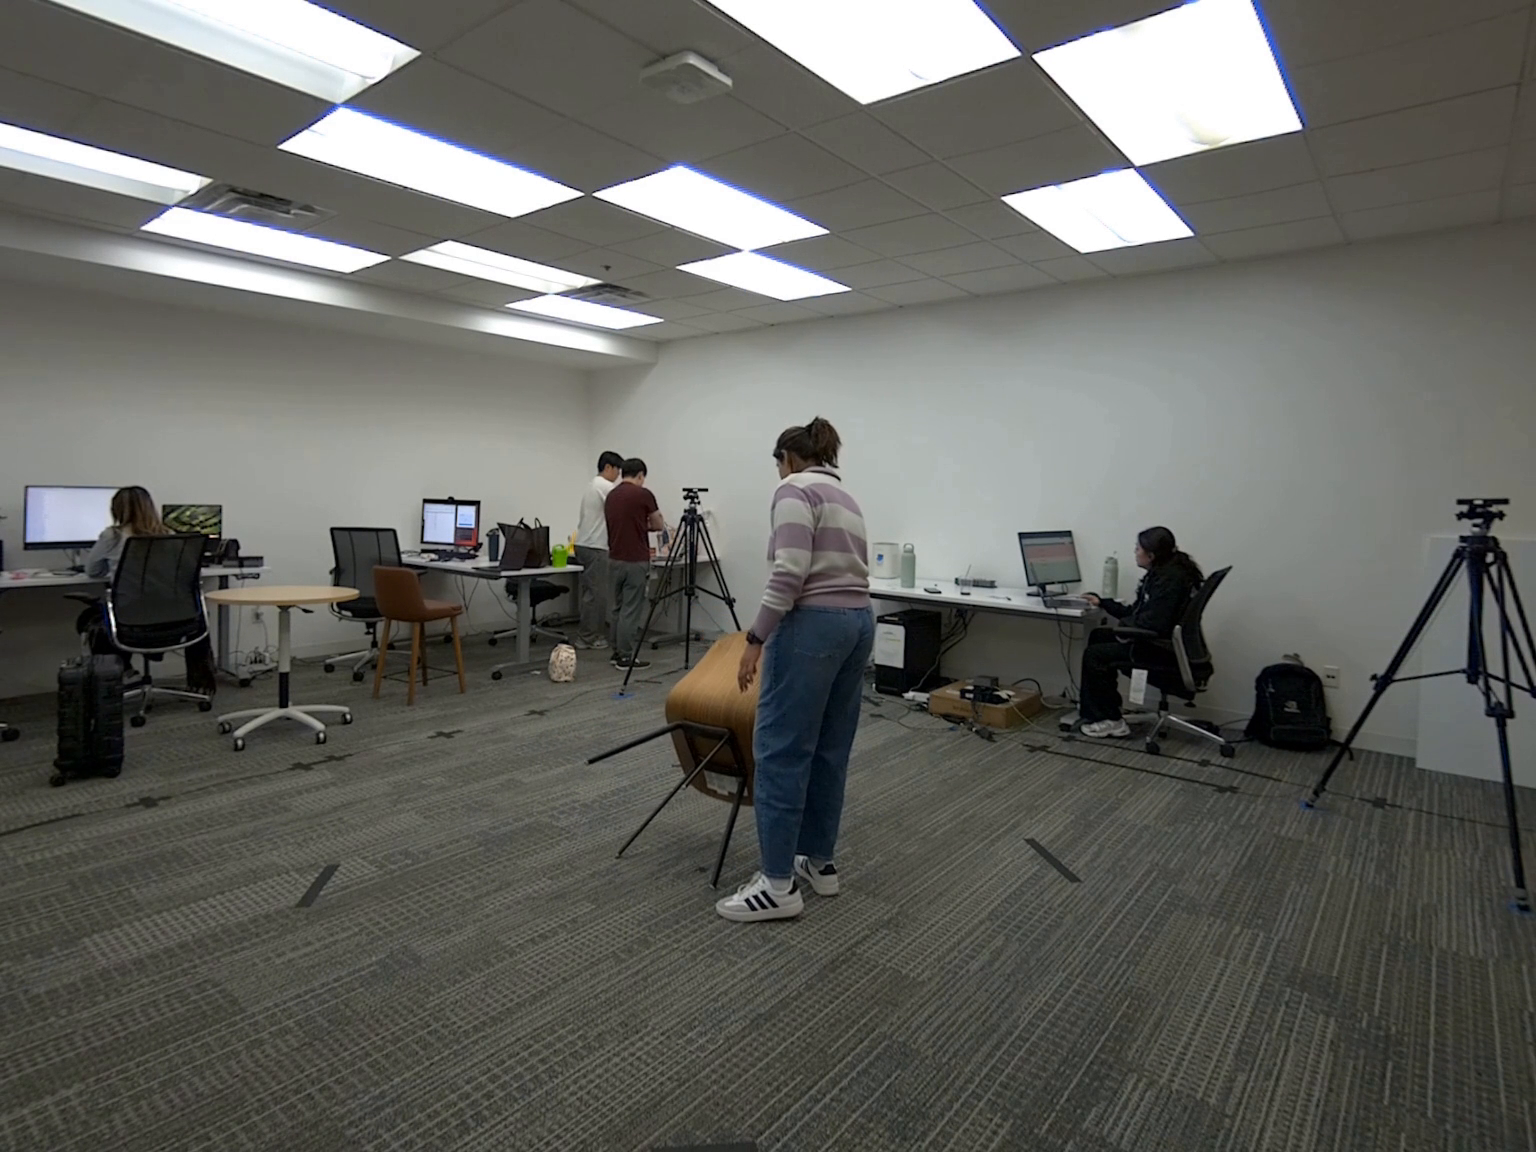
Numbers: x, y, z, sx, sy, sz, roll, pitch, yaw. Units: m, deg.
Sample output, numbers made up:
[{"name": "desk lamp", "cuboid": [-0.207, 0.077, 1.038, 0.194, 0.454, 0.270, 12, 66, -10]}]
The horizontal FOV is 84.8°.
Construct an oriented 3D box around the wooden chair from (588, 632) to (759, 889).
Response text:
[{"name": "wooden chair", "cuboid": [-0.229, 0.676, 3.302, 0.492, 0.508, 0.876, 2, 32, 32]}]
